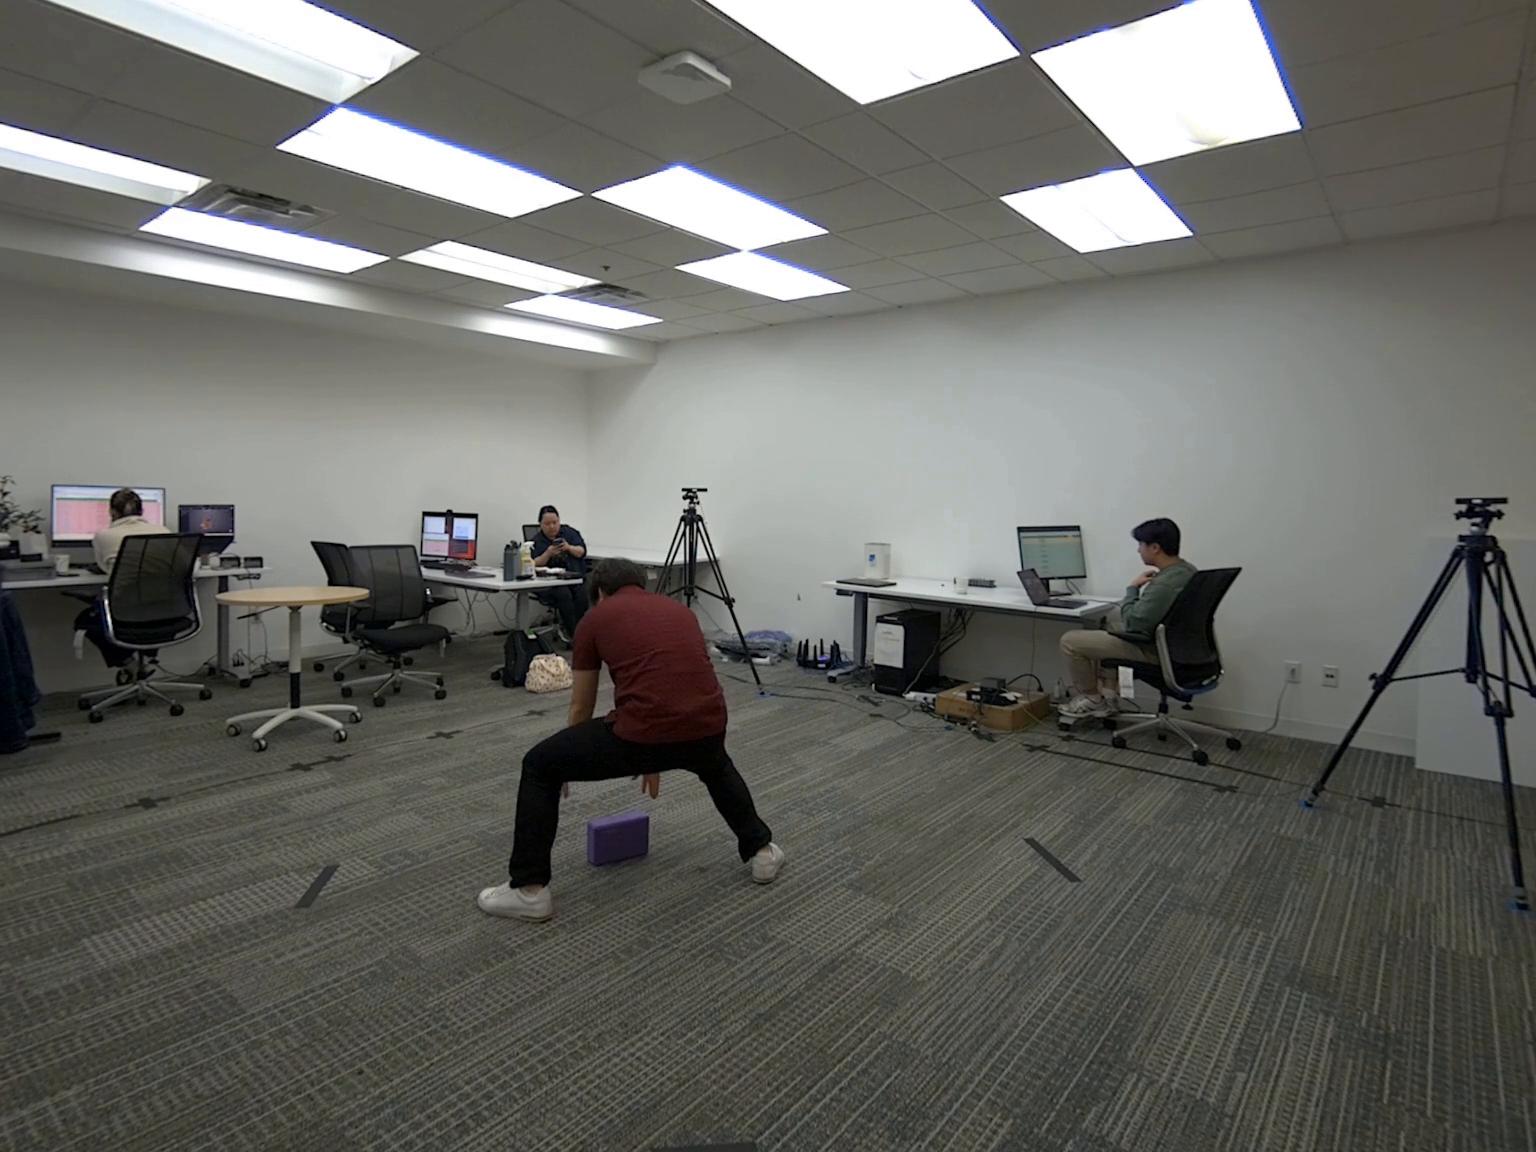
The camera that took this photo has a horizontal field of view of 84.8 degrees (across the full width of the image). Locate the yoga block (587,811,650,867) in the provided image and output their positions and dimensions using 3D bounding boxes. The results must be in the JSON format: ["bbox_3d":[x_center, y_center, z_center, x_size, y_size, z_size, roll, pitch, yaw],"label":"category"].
[{"bbox_3d":[-0.575,0.980,3.198,0.223,0.148,0.079,-2,4,-34],"label":"yoga block"}]
